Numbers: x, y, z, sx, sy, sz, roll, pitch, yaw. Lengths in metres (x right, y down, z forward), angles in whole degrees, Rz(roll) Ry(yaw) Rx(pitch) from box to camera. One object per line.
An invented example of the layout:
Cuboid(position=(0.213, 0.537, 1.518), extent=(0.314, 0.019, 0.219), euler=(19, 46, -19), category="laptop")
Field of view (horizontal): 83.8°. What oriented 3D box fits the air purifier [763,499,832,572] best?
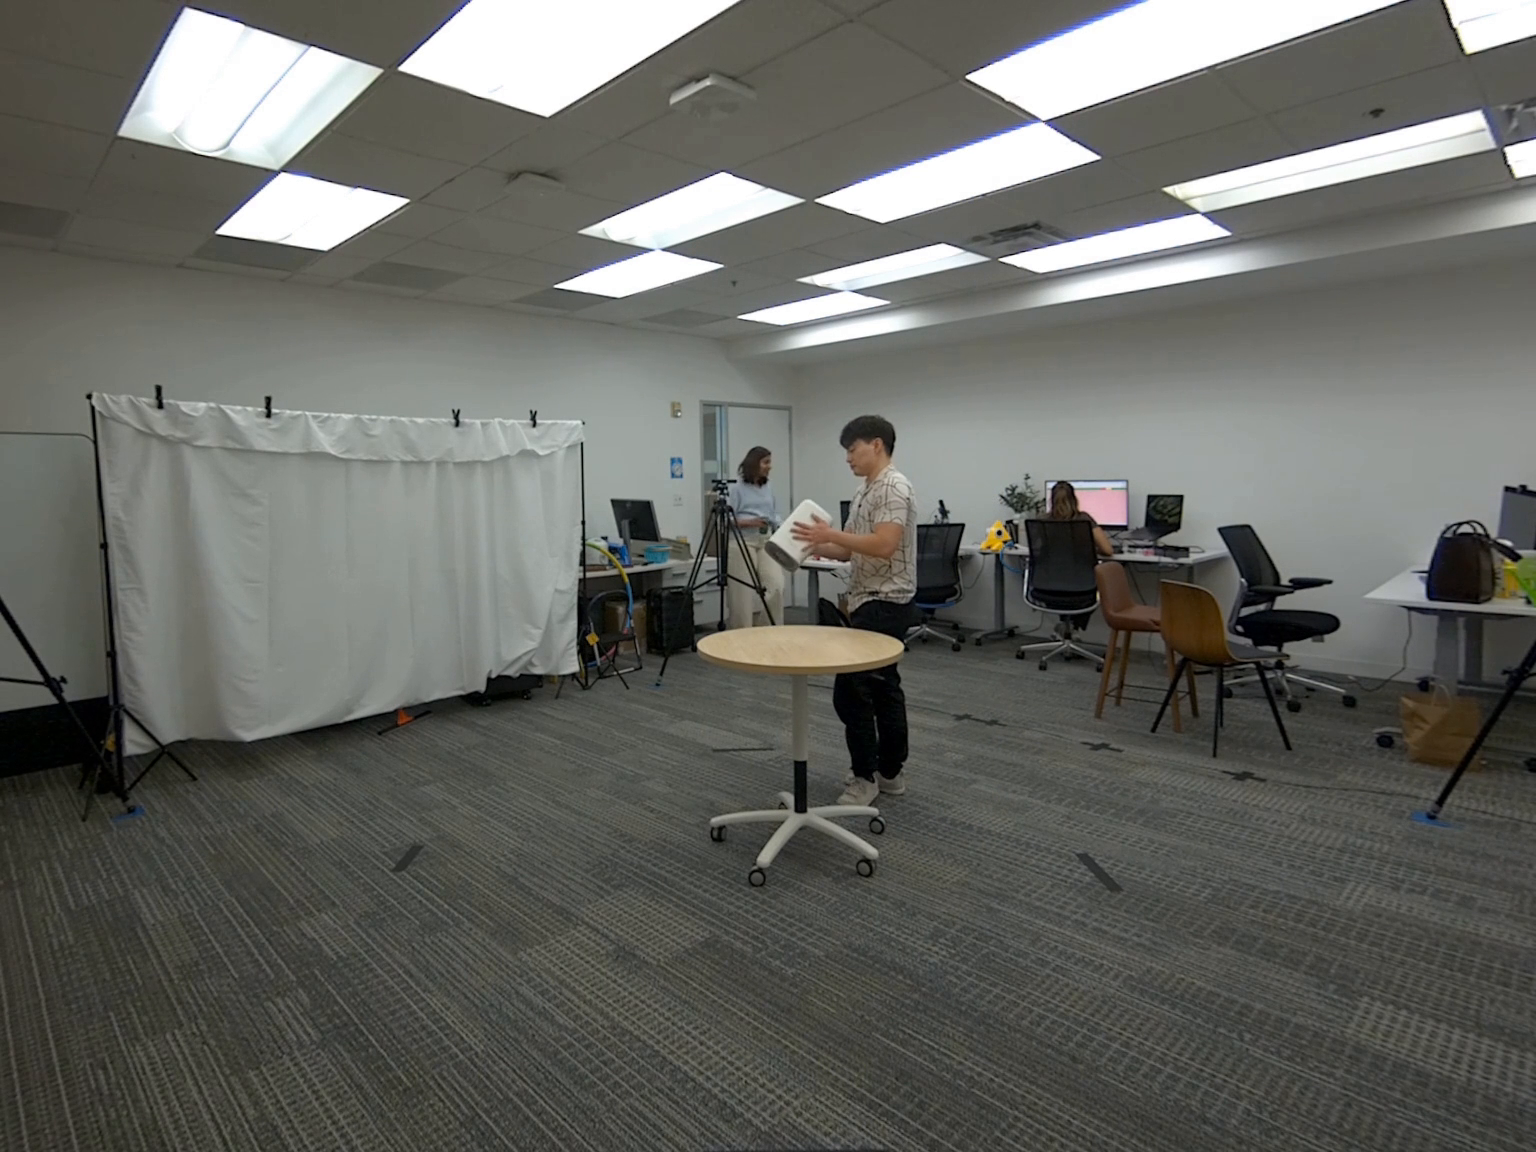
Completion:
Cuboid(position=(0.142, -0.178, 3.645), extent=(0.172, 0.265, 0.170), euler=(38, -18, 4), category="air purifier")
